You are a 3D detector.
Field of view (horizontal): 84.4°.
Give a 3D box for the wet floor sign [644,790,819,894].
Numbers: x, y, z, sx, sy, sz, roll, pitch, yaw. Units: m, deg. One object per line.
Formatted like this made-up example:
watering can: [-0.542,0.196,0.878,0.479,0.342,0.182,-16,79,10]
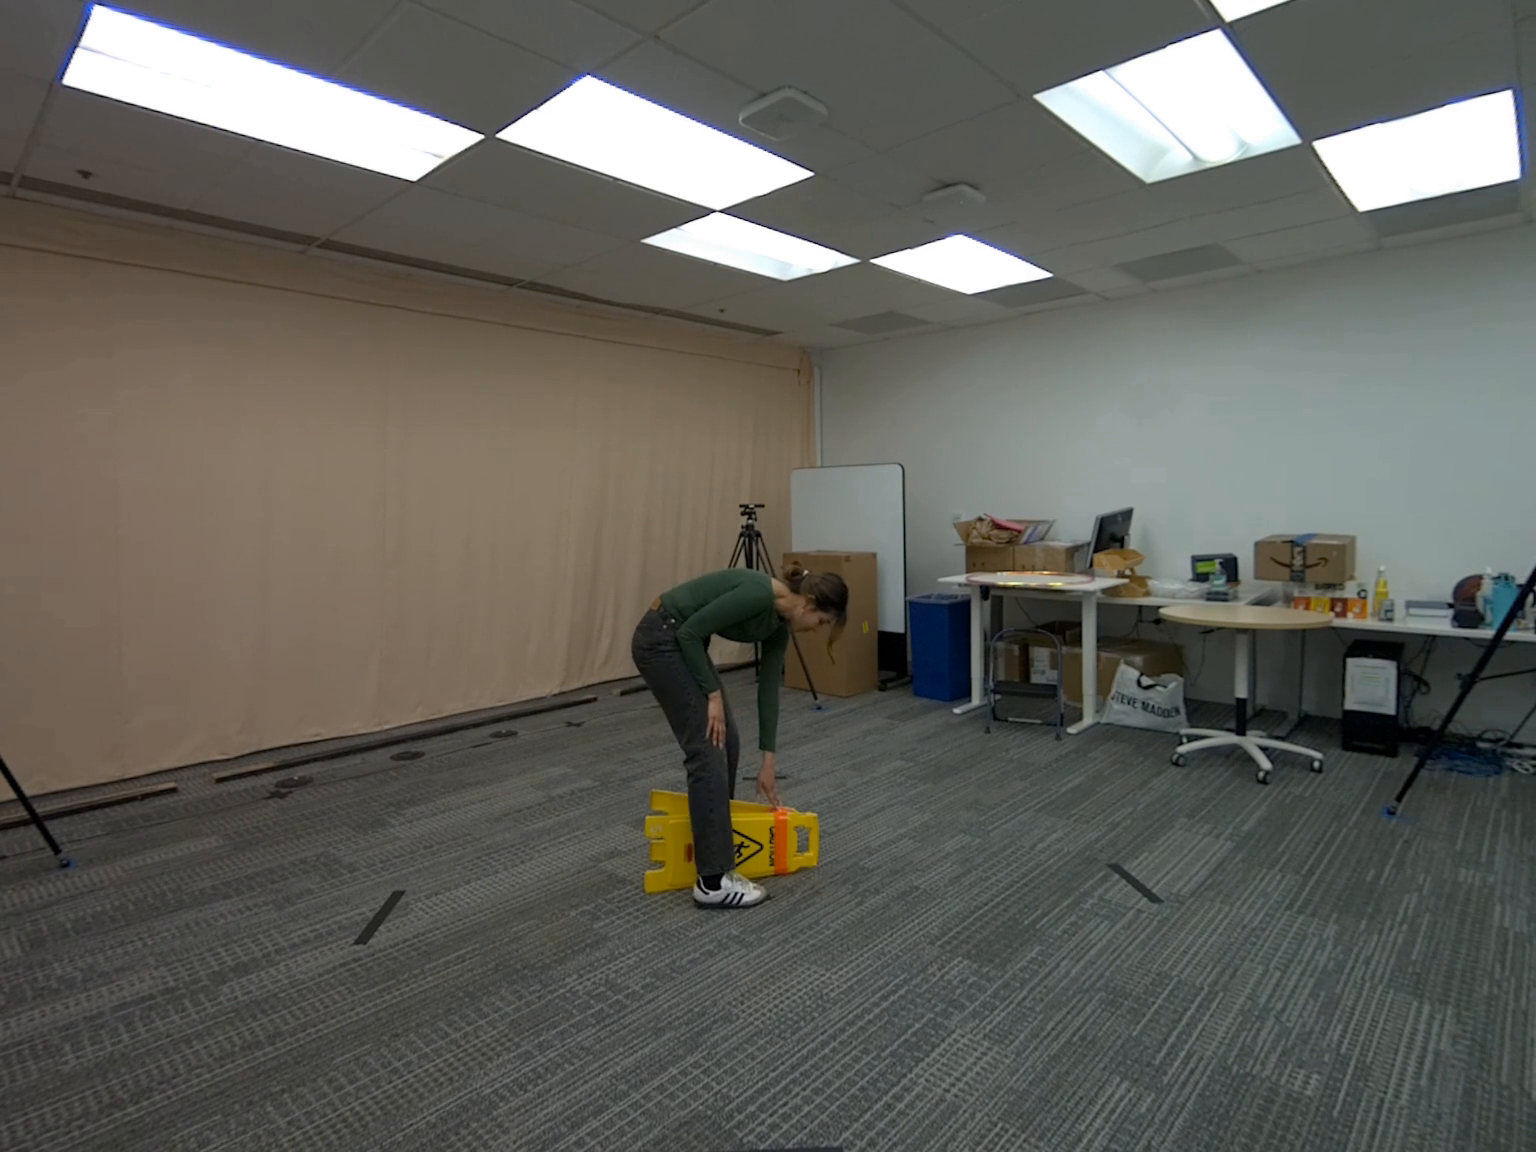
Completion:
wet floor sign: [-0.126,0.991,3.182,0.645,0.282,0.291,1,4,-2]
